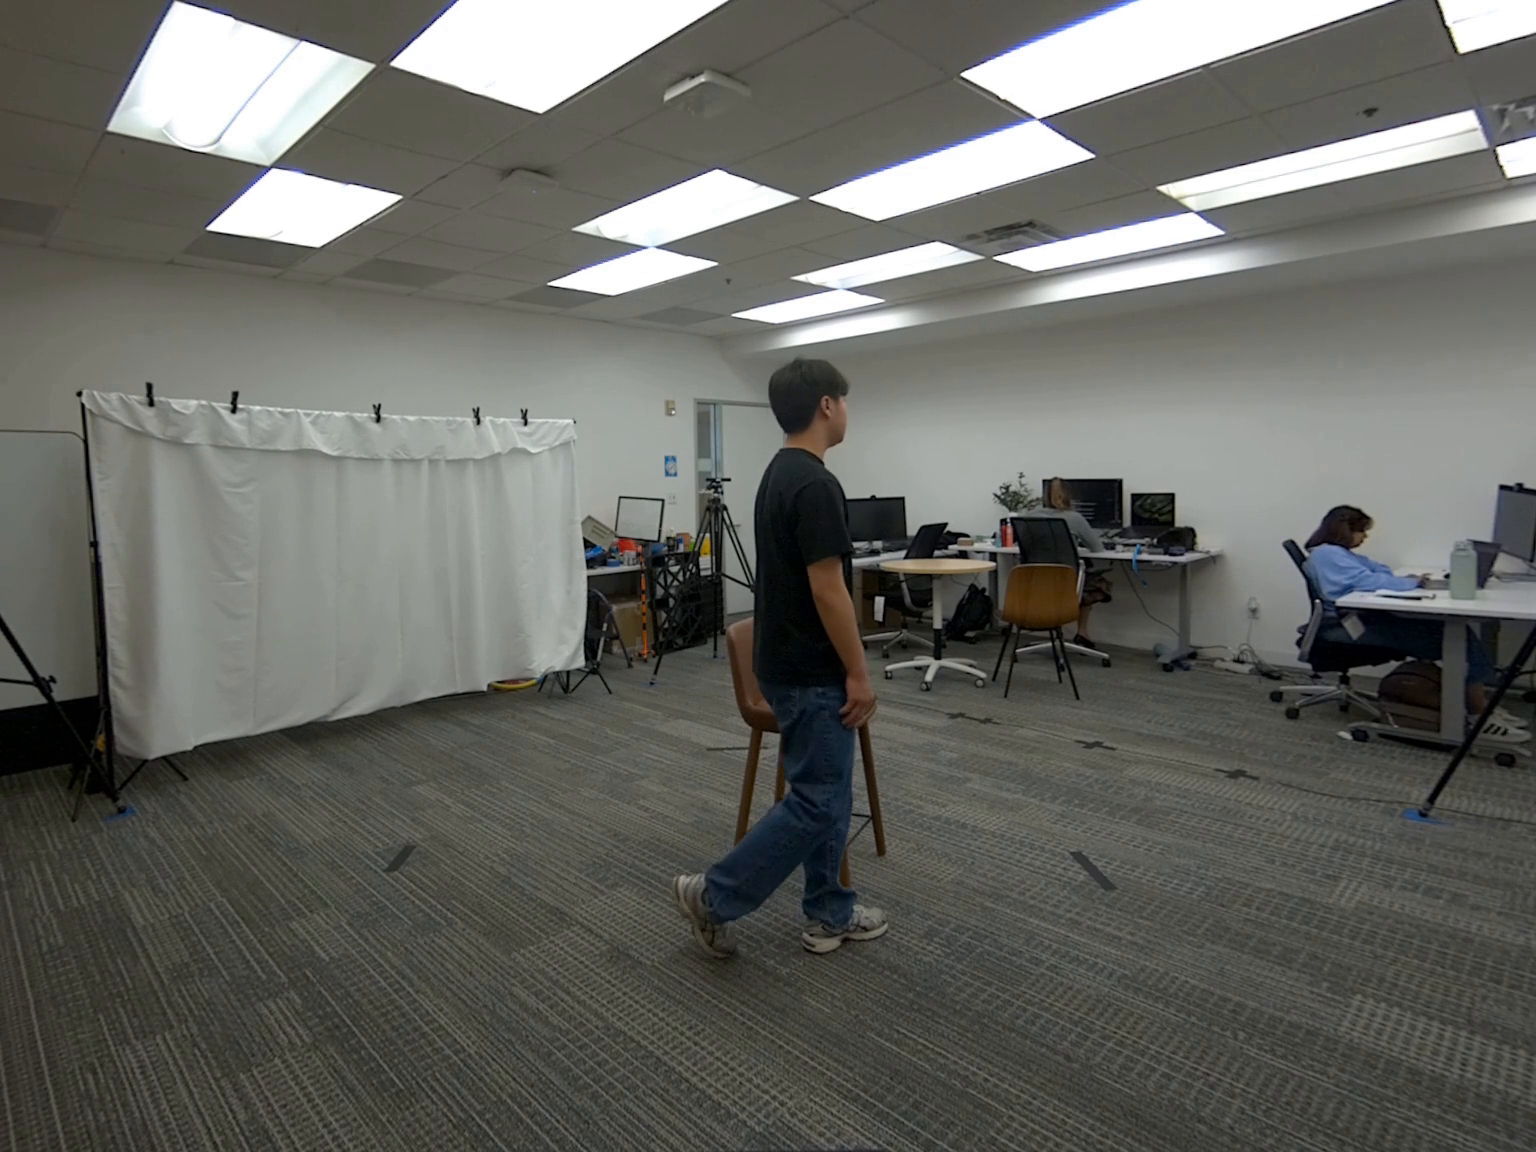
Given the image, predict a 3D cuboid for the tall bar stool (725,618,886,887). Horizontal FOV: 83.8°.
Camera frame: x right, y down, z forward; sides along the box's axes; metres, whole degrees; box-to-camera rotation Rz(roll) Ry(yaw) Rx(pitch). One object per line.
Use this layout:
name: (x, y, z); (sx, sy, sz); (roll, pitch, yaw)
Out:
tall bar stool: (0.144, 0.608, 3.068); (0.479, 0.888, 0.446); (-1, 3, 28)
